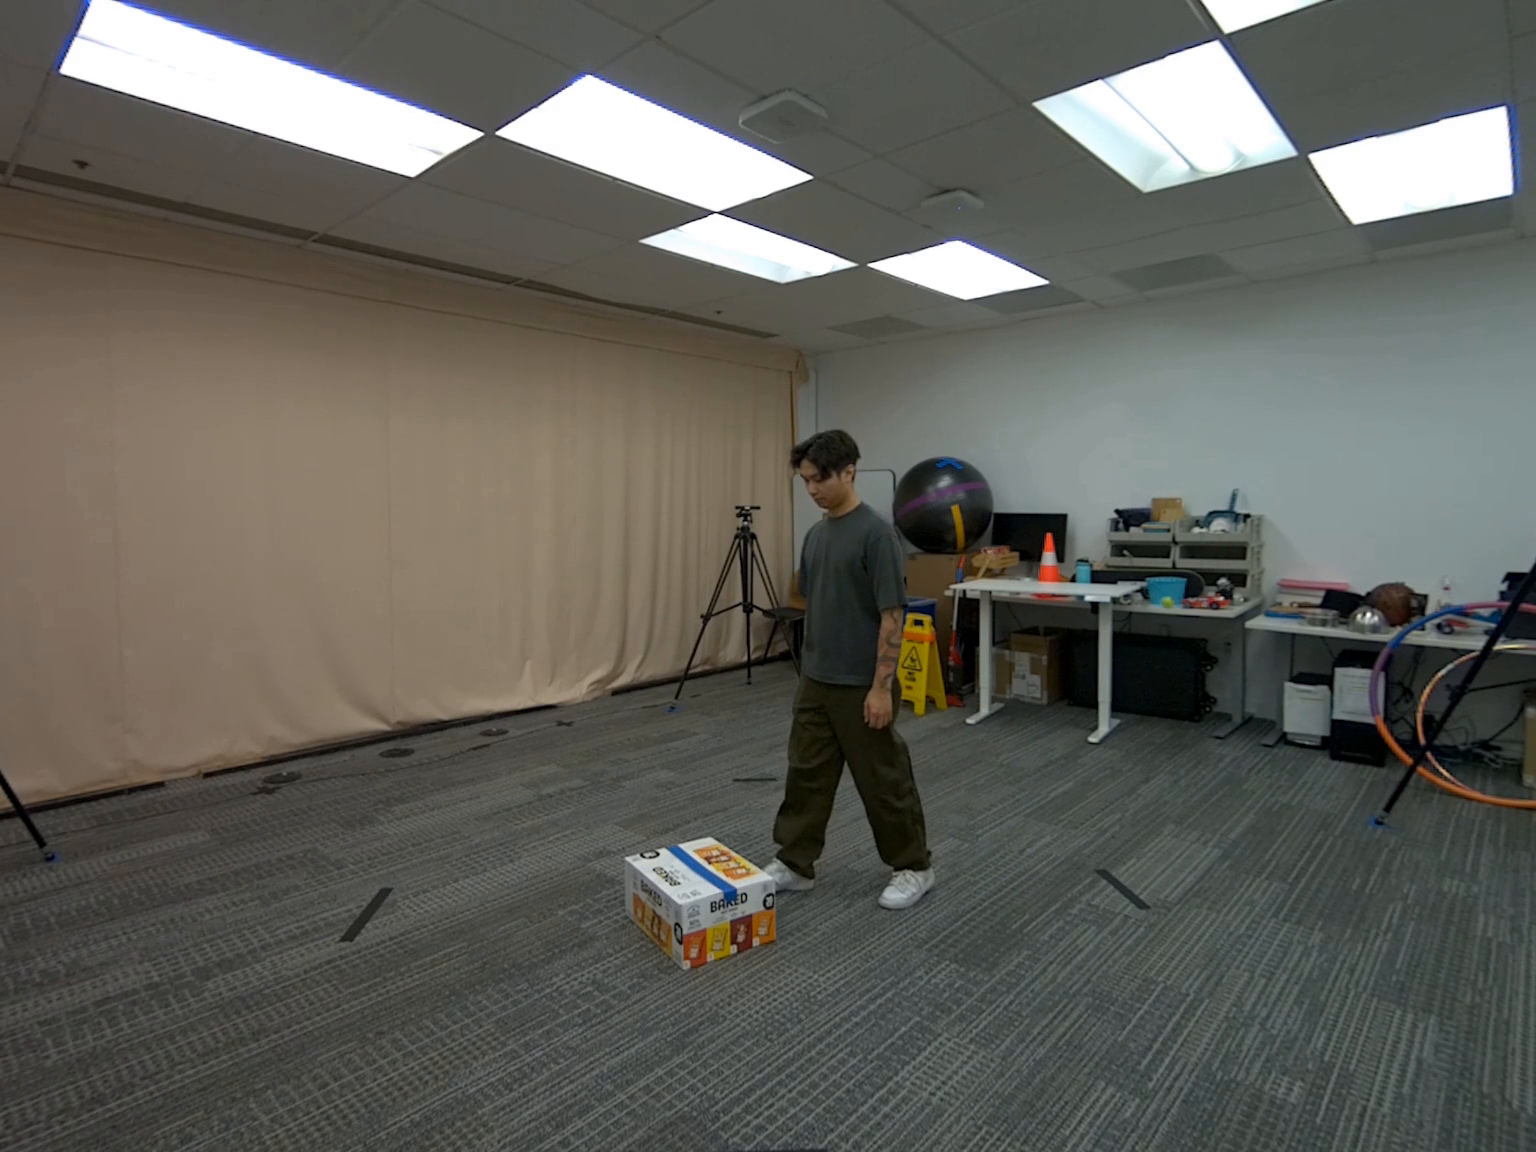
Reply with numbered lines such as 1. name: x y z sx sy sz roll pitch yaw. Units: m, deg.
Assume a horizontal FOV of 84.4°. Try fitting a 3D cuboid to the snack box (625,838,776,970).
1. snack box: -0.233 1.056 2.773 0.331 0.205 0.417 -3 5 -33
